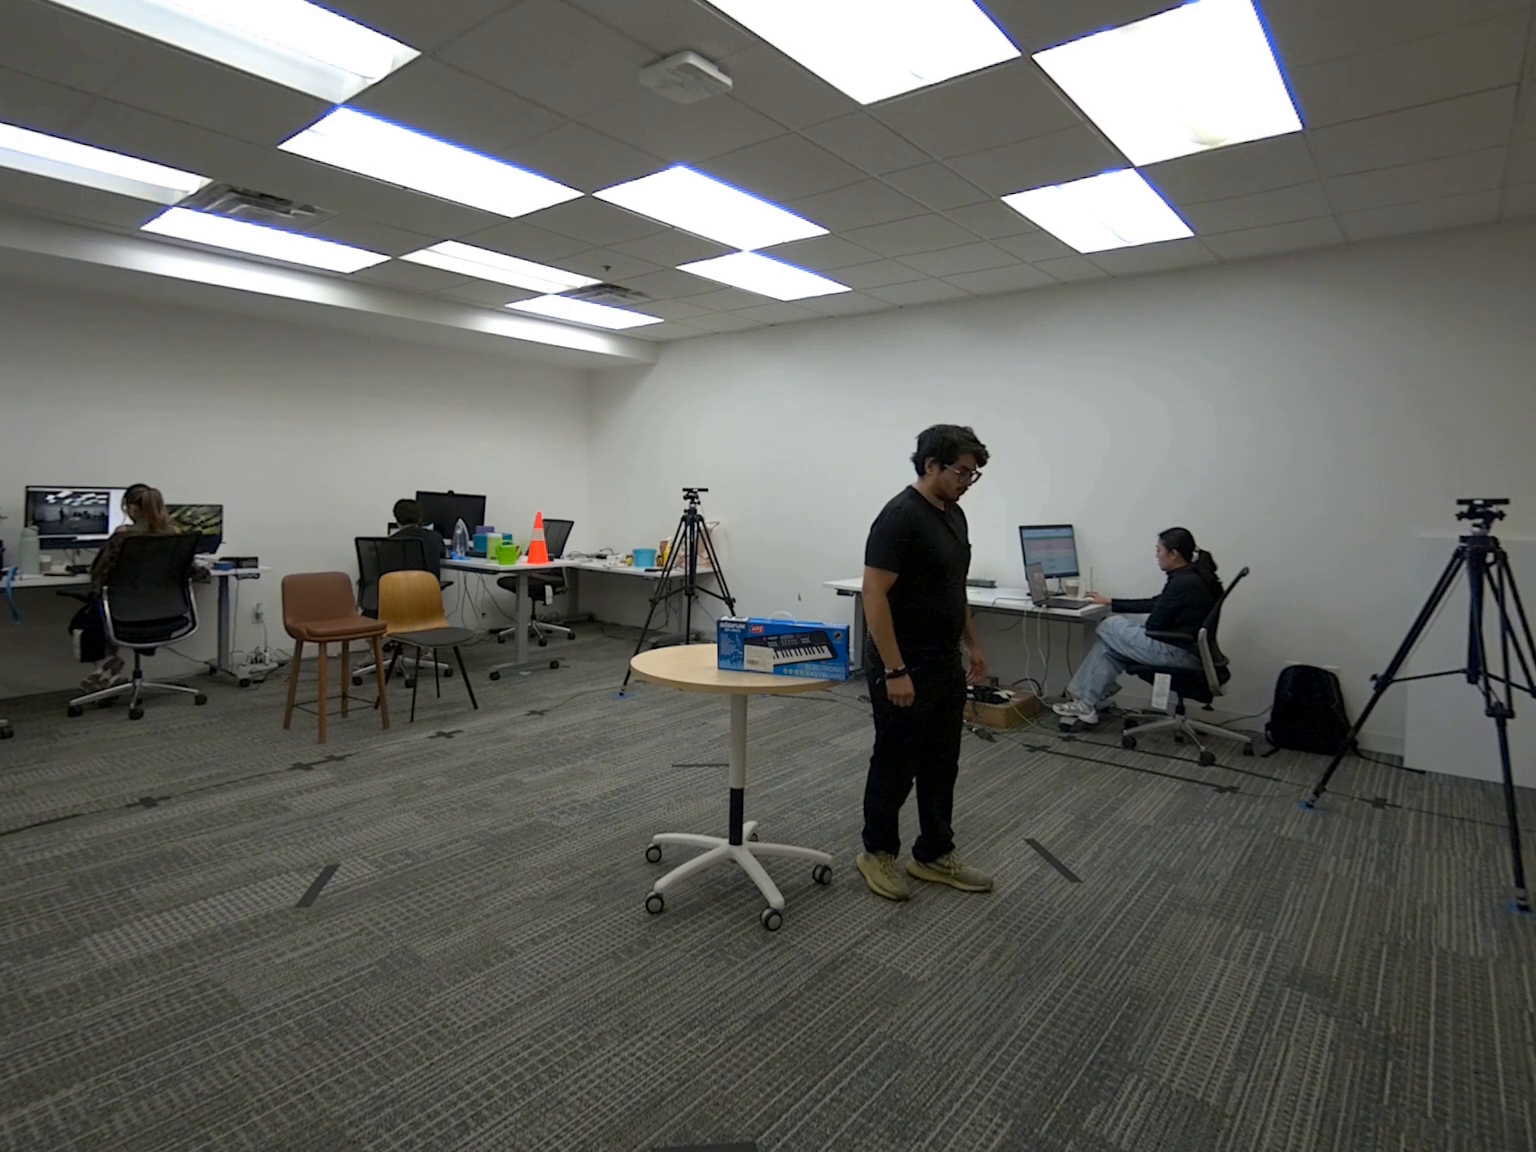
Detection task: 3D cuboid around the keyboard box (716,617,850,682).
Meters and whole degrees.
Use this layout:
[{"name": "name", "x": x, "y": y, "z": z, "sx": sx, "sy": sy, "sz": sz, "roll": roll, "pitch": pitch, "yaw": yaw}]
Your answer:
[{"name": "keyboard box", "x": 0.039, "y": 0.234, "z": 2.794, "sx": 0.446, "sy": 0.174, "sz": 0.058, "roll": 3, "pitch": 9, "yaw": 20}]
